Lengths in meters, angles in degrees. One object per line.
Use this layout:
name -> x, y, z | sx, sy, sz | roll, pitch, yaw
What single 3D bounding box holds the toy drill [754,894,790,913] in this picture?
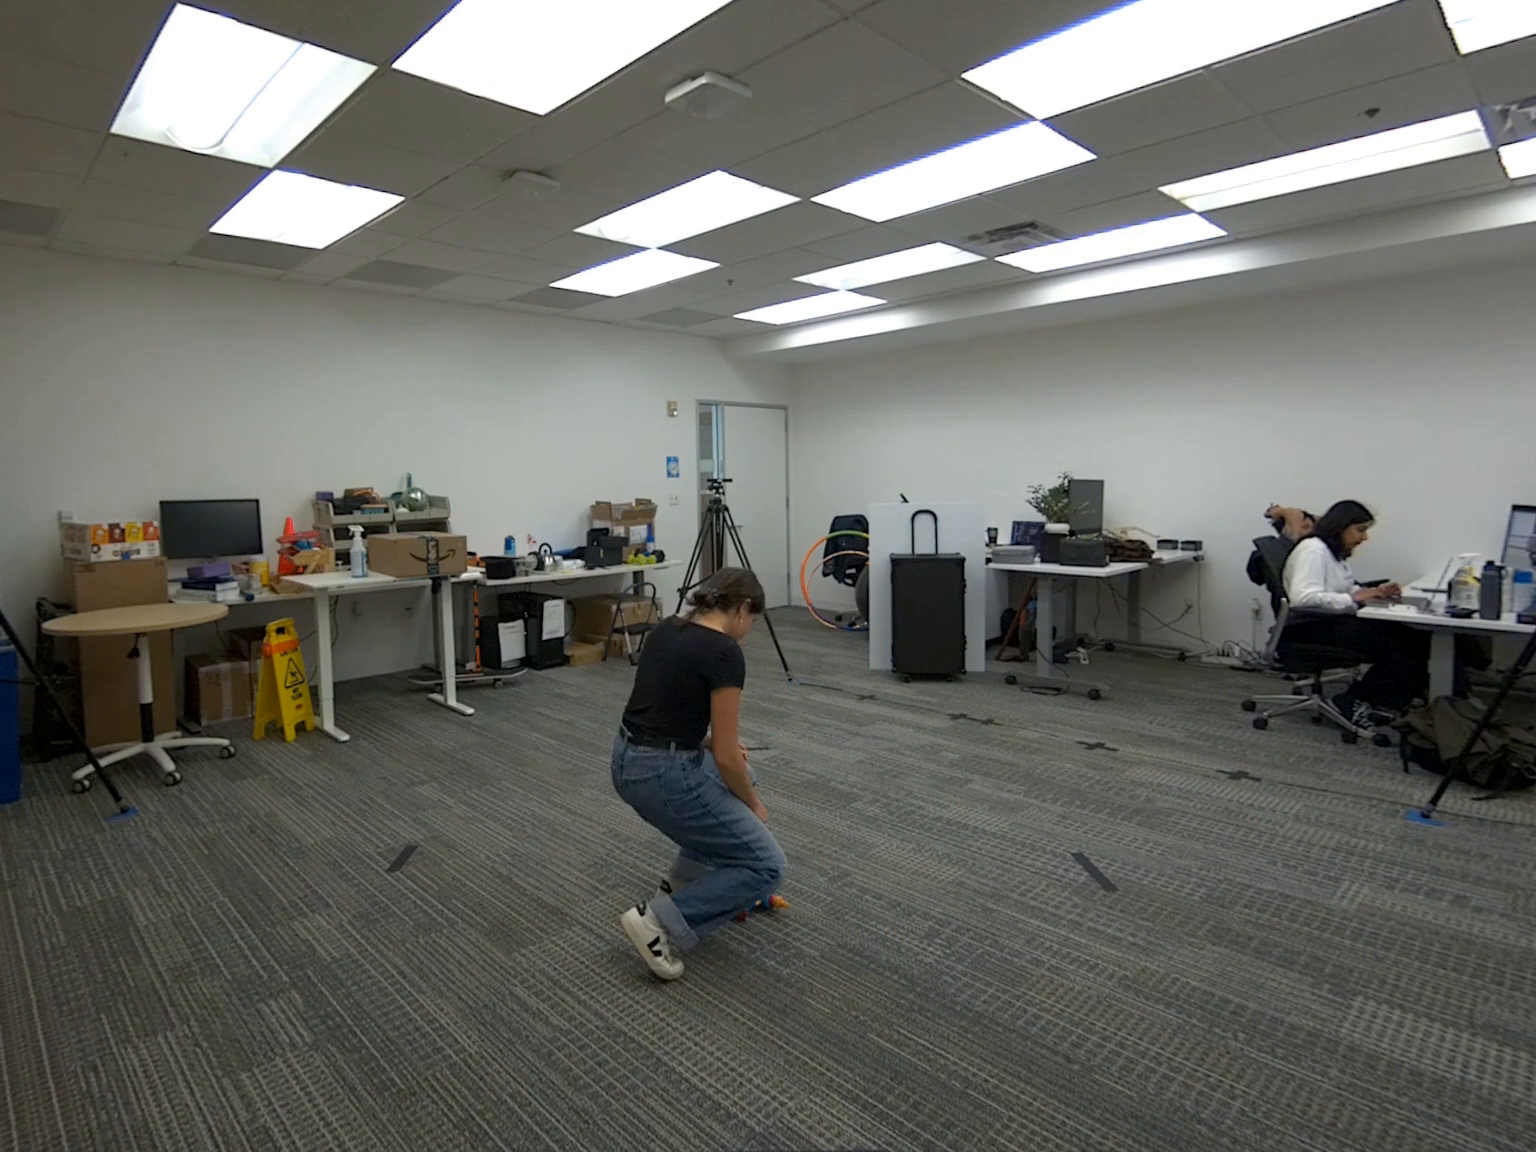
toy drill -> -0.021, 1.057, 2.743 | 0.174, 0.061, 0.142 | 0, 6, 42
